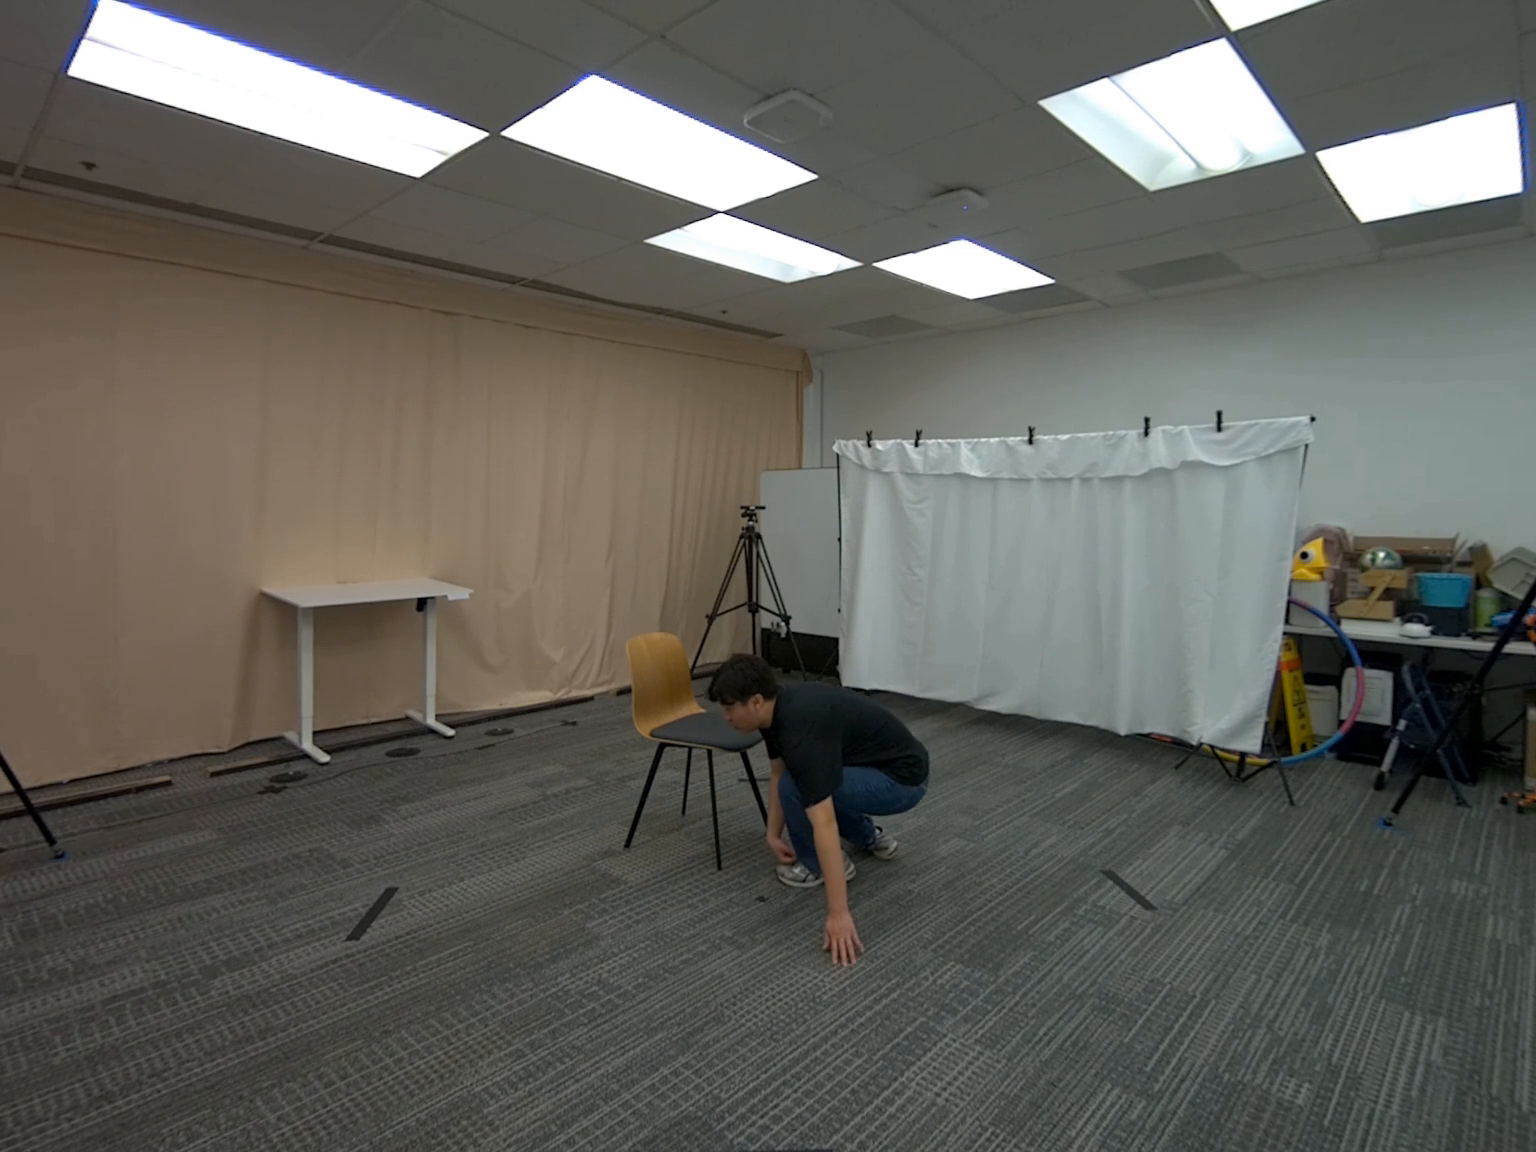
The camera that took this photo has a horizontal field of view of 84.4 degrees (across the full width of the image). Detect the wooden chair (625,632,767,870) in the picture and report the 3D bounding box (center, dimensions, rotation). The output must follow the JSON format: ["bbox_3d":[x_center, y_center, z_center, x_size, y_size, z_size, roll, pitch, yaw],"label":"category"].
[{"bbox_3d":[-0.282,0.677,3.484,0.537,0.877,0.466,-4,1,29],"label":"wooden chair"}]
